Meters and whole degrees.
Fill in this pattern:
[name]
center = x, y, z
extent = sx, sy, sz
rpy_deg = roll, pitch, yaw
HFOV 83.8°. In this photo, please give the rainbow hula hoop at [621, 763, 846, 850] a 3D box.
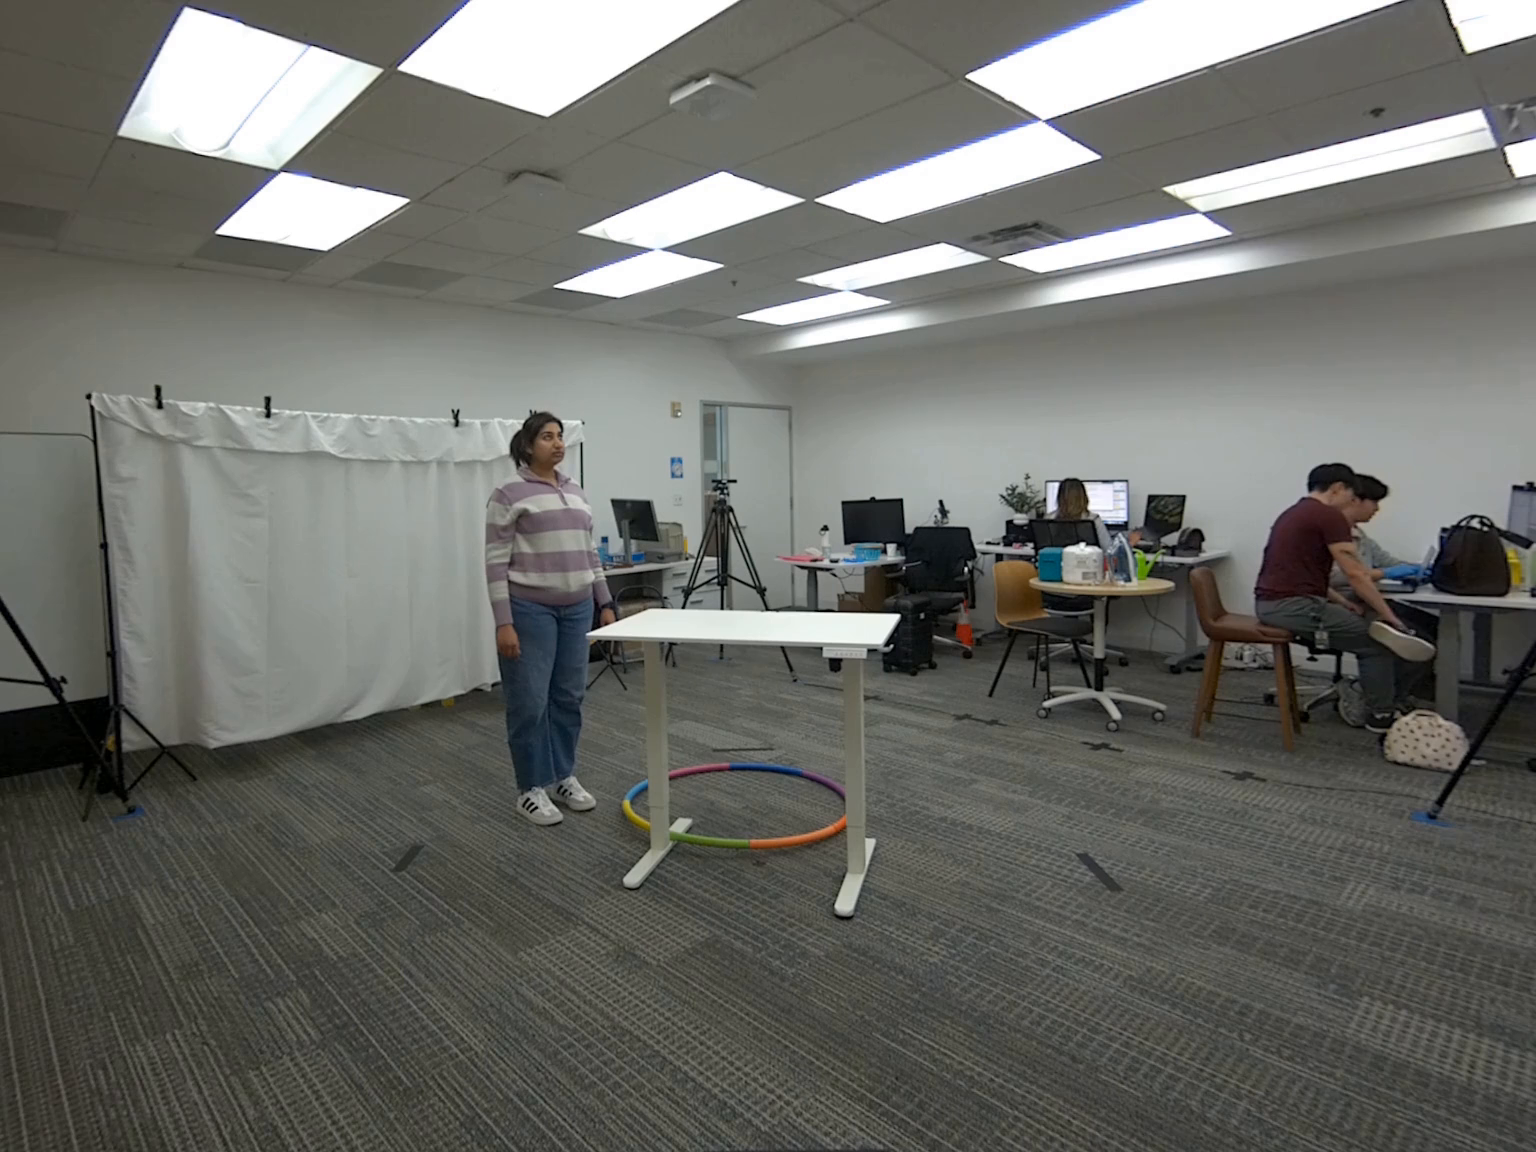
[rainbow hula hoop]
center = -0.126, 0.955, 3.662
extent = 0.978, 0.035, 0.983
rpy_deg = 0, 5, -2
